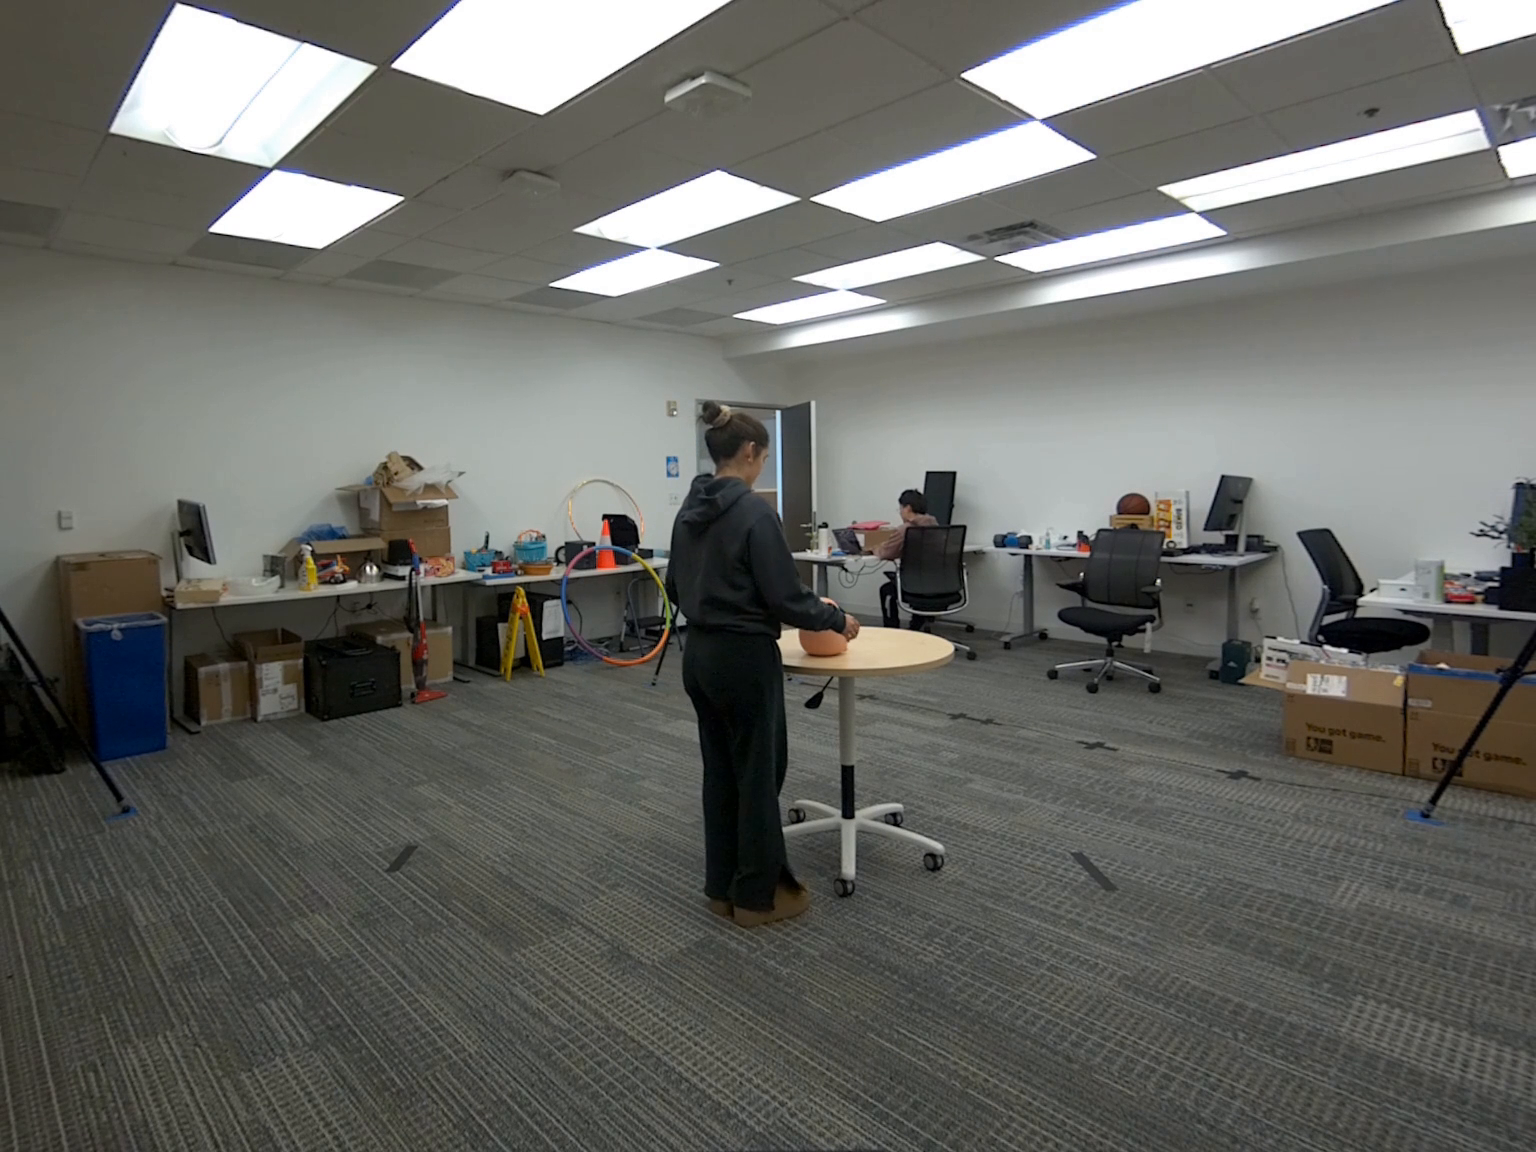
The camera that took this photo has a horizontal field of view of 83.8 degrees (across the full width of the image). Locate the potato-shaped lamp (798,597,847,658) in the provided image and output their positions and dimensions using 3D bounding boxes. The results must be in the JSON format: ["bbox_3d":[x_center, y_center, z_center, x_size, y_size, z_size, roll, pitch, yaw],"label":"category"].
[{"bbox_3d":[0.201,0.180,2.967,0.170,0.198,0.167,2,4,42],"label":"potato-shaped lamp"}]
